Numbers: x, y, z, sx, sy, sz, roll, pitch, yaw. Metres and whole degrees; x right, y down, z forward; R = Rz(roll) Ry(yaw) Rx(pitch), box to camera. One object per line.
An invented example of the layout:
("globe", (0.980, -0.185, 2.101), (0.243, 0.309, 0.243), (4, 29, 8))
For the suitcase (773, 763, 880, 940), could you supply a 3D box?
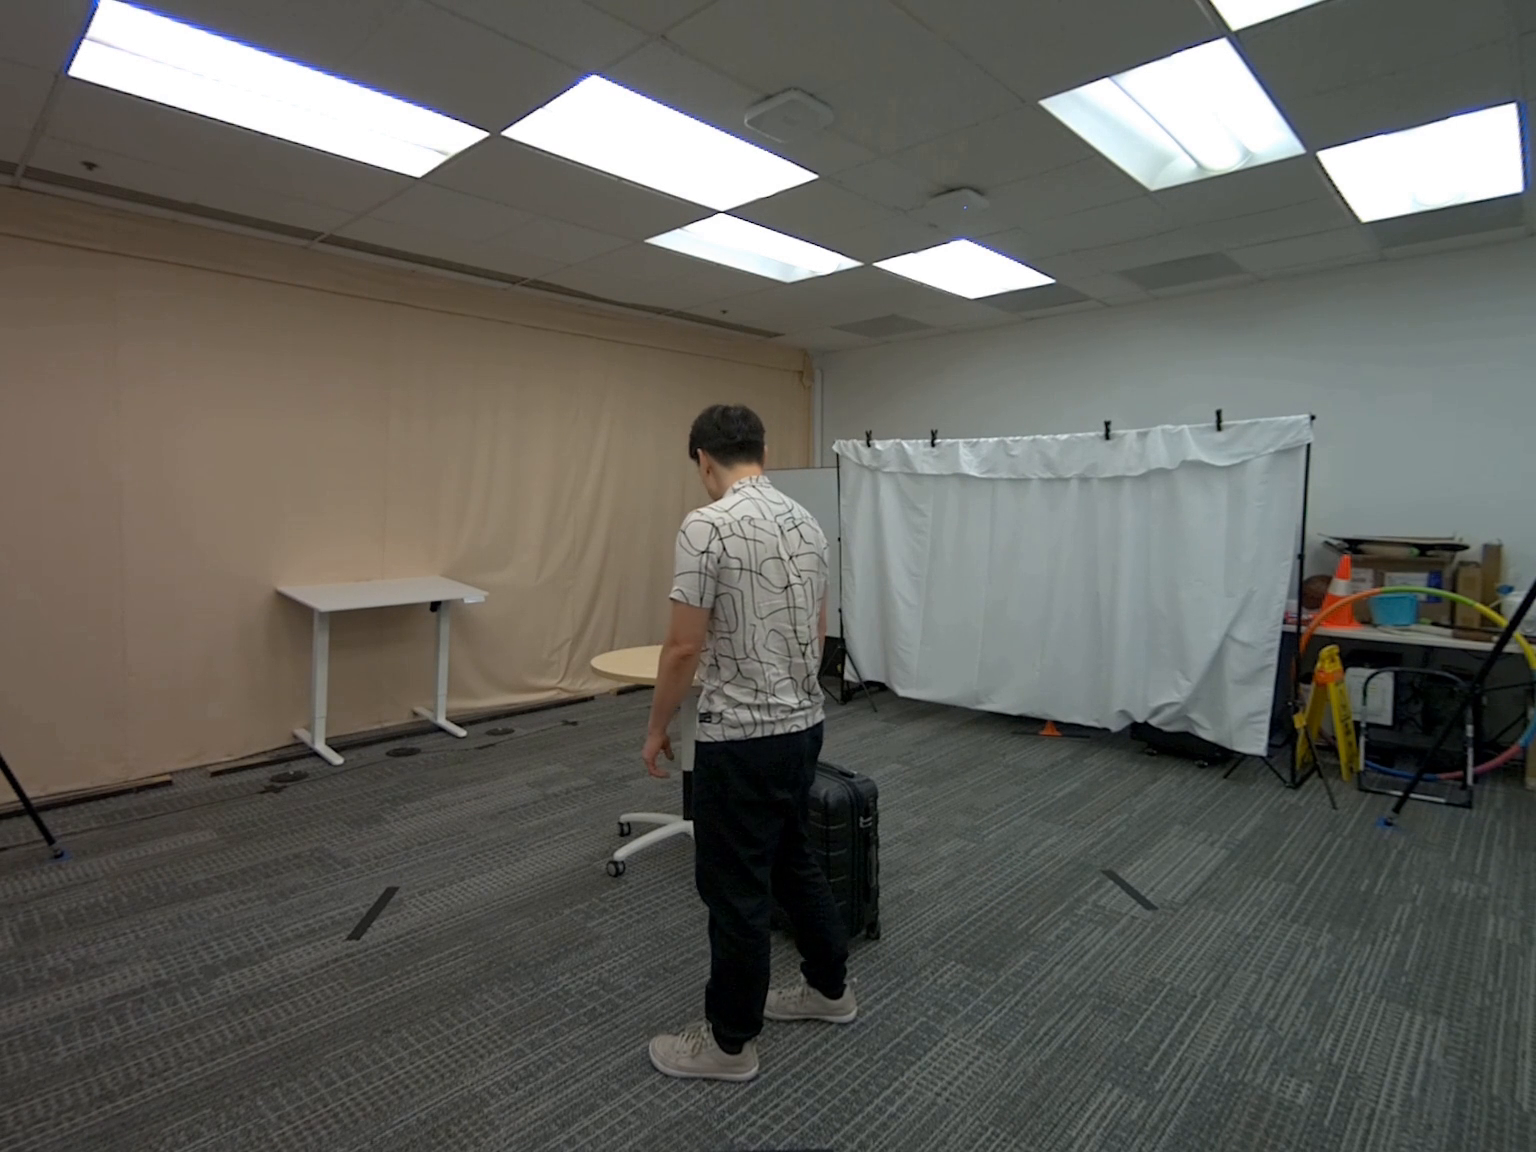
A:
("suitcase", (0.170, 0.889, 2.717), (0.241, 0.547, 0.388), (-5, 7, -42))
